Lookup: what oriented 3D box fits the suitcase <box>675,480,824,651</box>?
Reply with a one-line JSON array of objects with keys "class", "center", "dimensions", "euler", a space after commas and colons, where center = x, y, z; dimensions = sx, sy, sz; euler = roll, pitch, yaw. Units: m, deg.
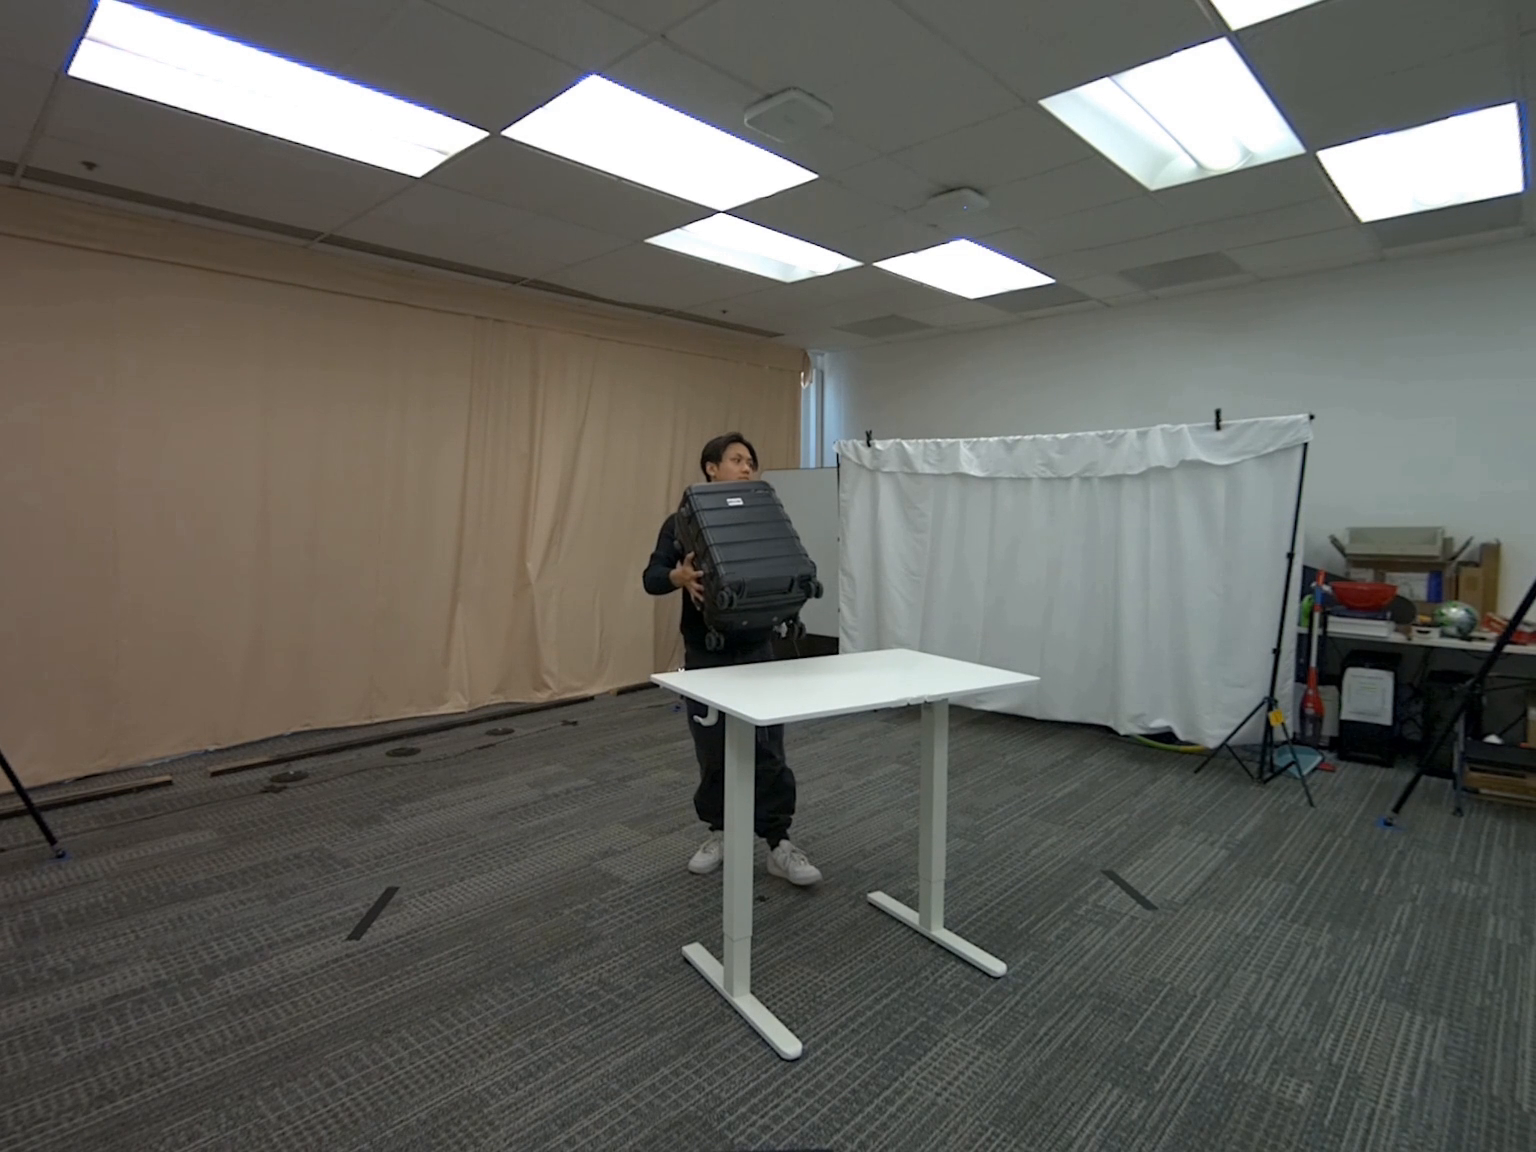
[{"class": "suitcase", "center": [-0.081, -0.069, 2.847], "dimensions": [0.368, 0.246, 0.565], "euler": [-5, 49, -20]}]
